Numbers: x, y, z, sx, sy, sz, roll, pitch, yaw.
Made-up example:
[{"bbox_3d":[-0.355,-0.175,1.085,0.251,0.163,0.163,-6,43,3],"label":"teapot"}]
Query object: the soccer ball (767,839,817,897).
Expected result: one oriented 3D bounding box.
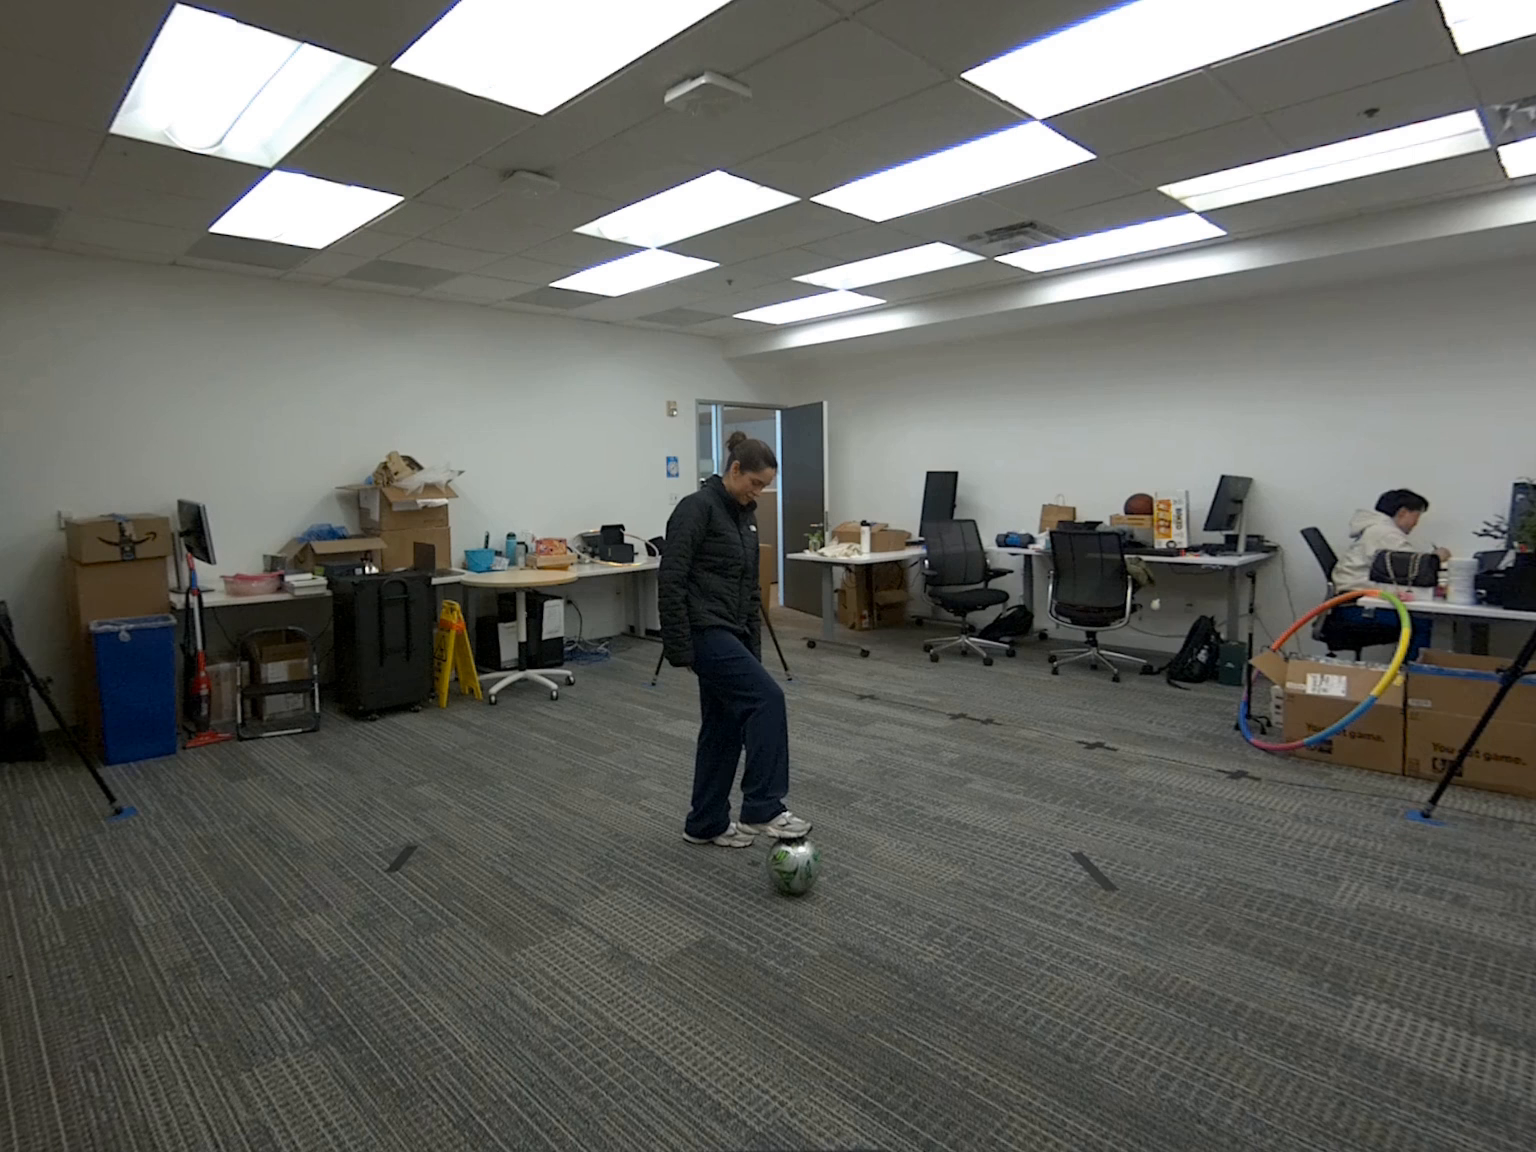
[{"bbox_3d":[0.088,0.972,2.894,0.187,0.187,0.188,-1,5,-2],"label":"soccer ball"}]
